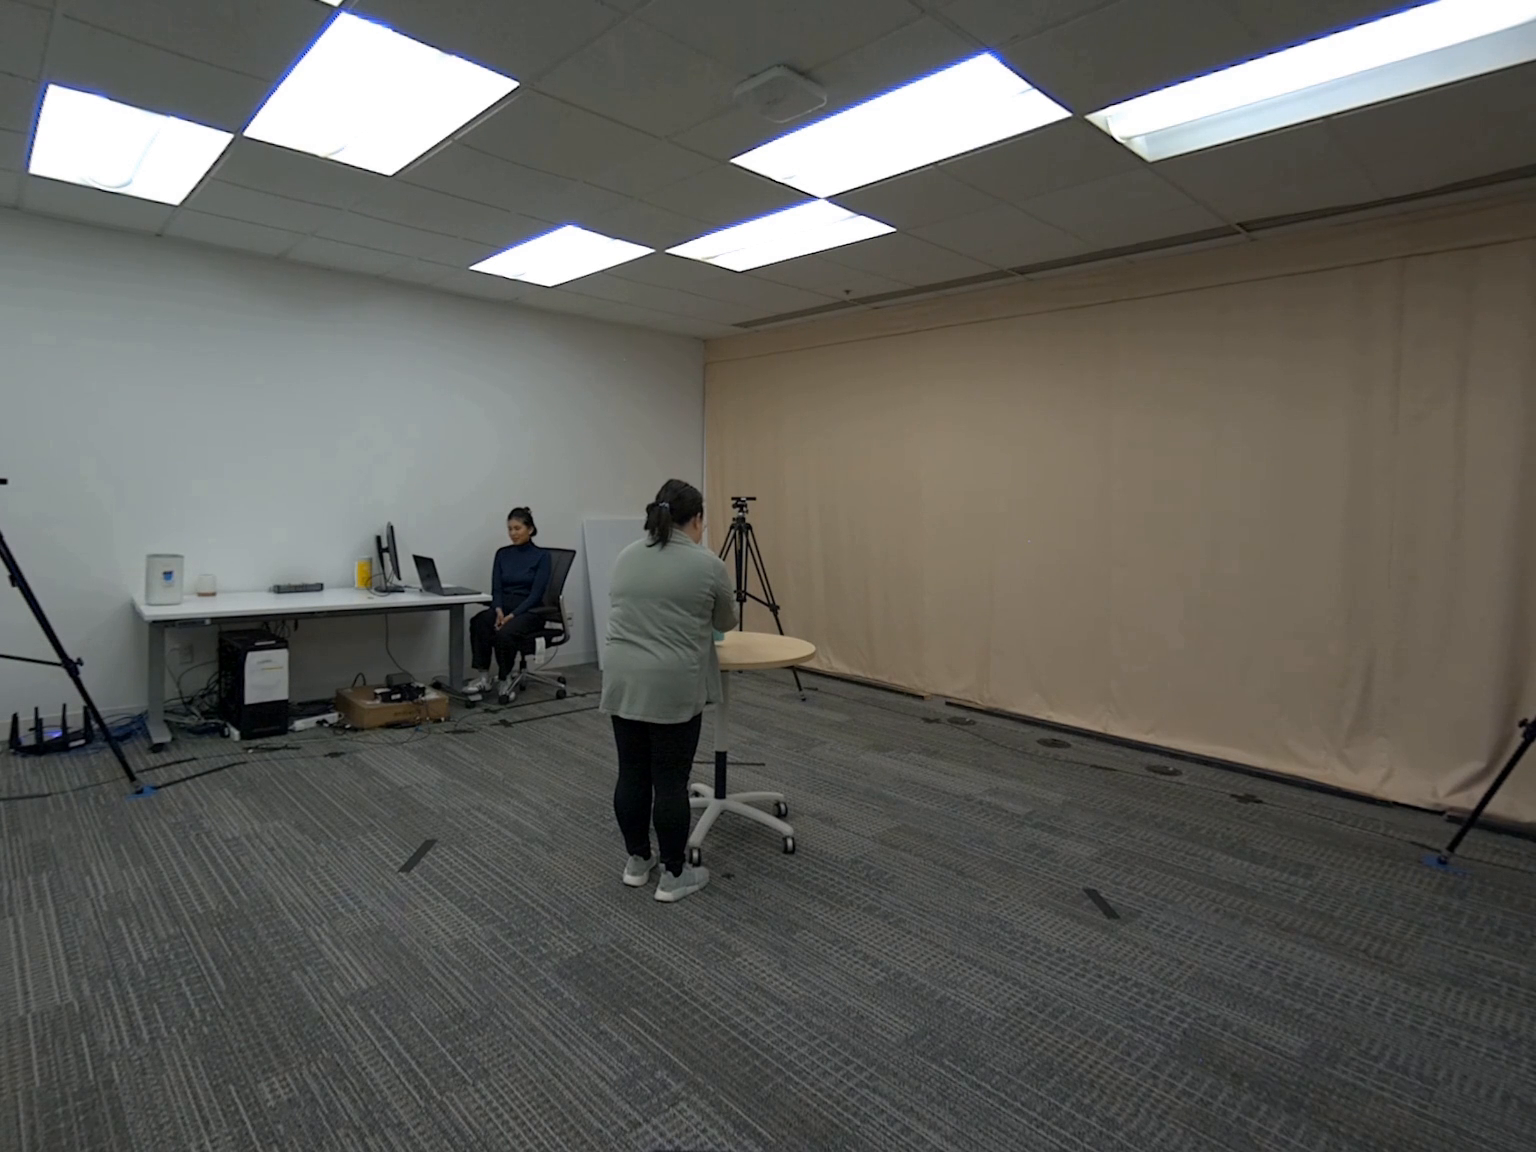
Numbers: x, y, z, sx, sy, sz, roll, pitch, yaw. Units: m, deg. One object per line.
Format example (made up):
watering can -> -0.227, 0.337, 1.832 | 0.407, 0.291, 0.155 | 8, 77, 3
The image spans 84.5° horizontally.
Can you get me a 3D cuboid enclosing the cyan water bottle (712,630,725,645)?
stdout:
cyan water bottle -> -0.223, 0.131, 3.456 | 0.092, 0.283, 0.092 | 1, 3, -1
